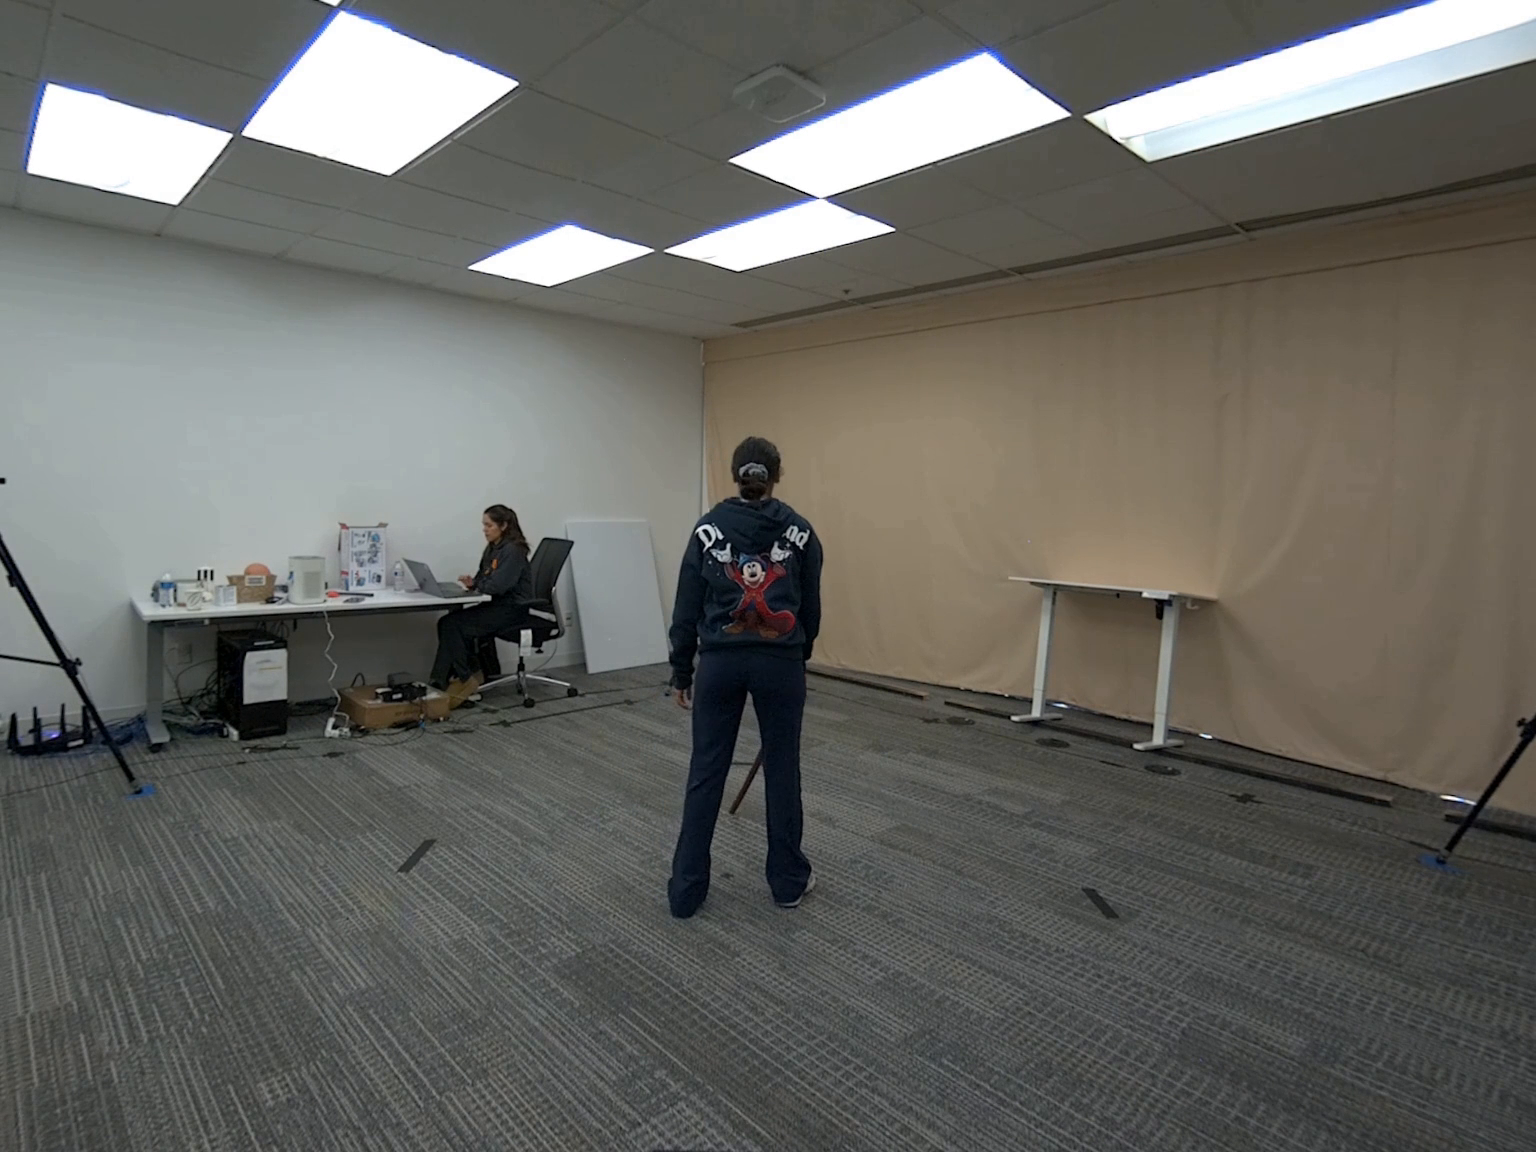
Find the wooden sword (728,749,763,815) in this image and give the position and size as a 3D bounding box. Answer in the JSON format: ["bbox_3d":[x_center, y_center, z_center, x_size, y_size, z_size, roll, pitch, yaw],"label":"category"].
[{"bbox_3d":[-0.028,0.714,3.394,0.050,1.013,0.025,-13,54,-33],"label":"wooden sword"}]
